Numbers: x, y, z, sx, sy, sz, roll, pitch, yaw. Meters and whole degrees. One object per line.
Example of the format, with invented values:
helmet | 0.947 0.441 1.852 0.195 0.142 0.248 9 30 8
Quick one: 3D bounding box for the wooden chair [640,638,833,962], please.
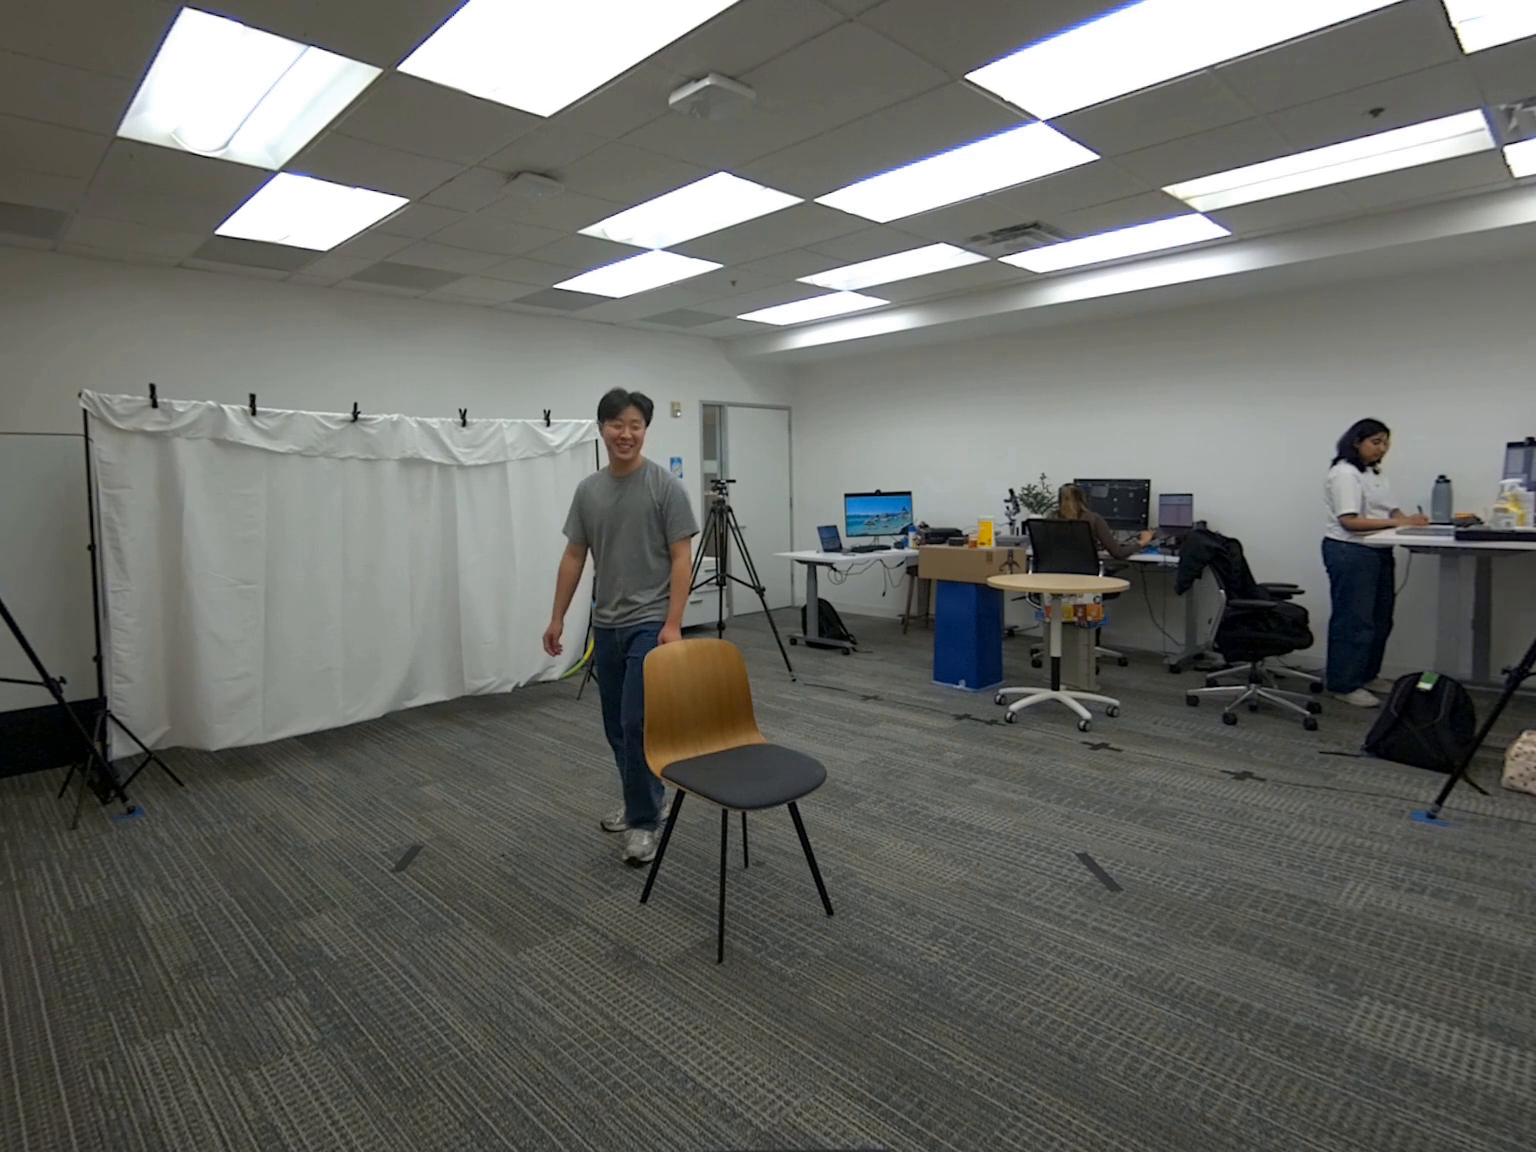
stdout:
wooden chair | -0.105 0.664 2.741 0.466 0.877 0.537 -4 1 -37
